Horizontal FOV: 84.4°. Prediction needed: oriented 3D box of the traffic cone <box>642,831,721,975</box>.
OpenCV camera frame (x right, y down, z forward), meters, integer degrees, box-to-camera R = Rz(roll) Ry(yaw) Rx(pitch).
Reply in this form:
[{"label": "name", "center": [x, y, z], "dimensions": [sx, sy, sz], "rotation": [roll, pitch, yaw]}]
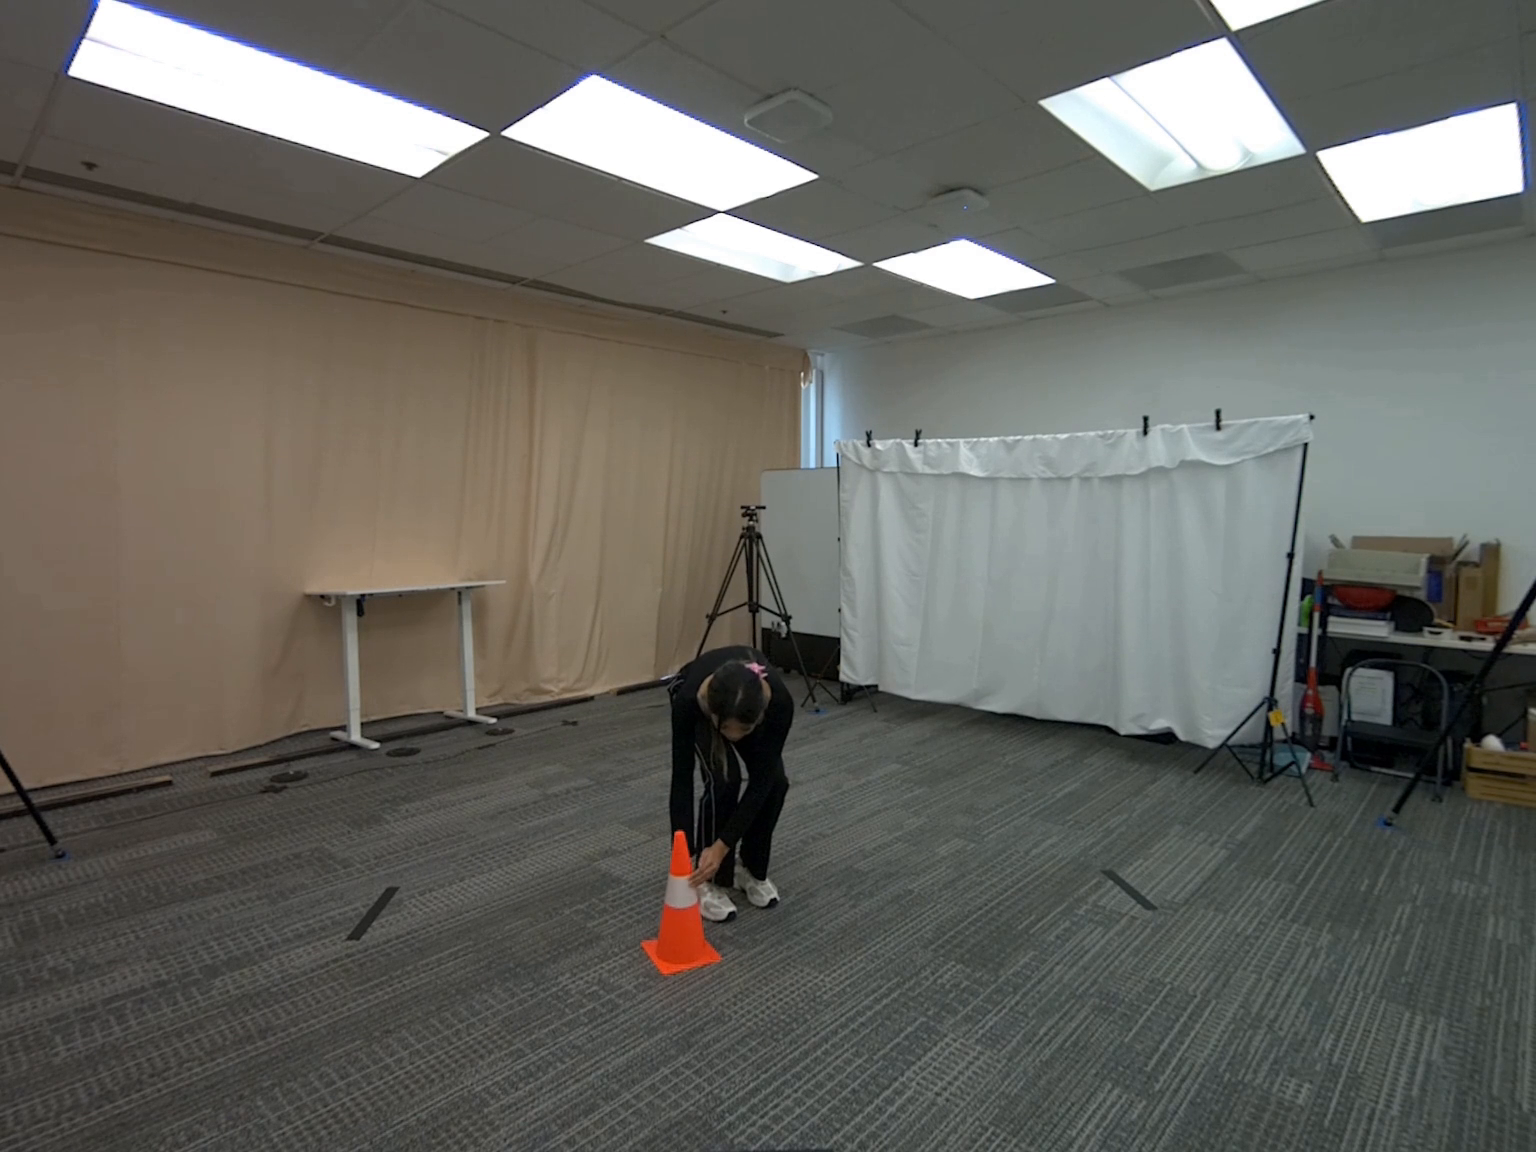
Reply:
[{"label": "traffic cone", "center": [-0.270, 0.991, 2.620], "dimensions": [0.198, 0.383, 0.210], "rotation": [0, 3, -25]}]
